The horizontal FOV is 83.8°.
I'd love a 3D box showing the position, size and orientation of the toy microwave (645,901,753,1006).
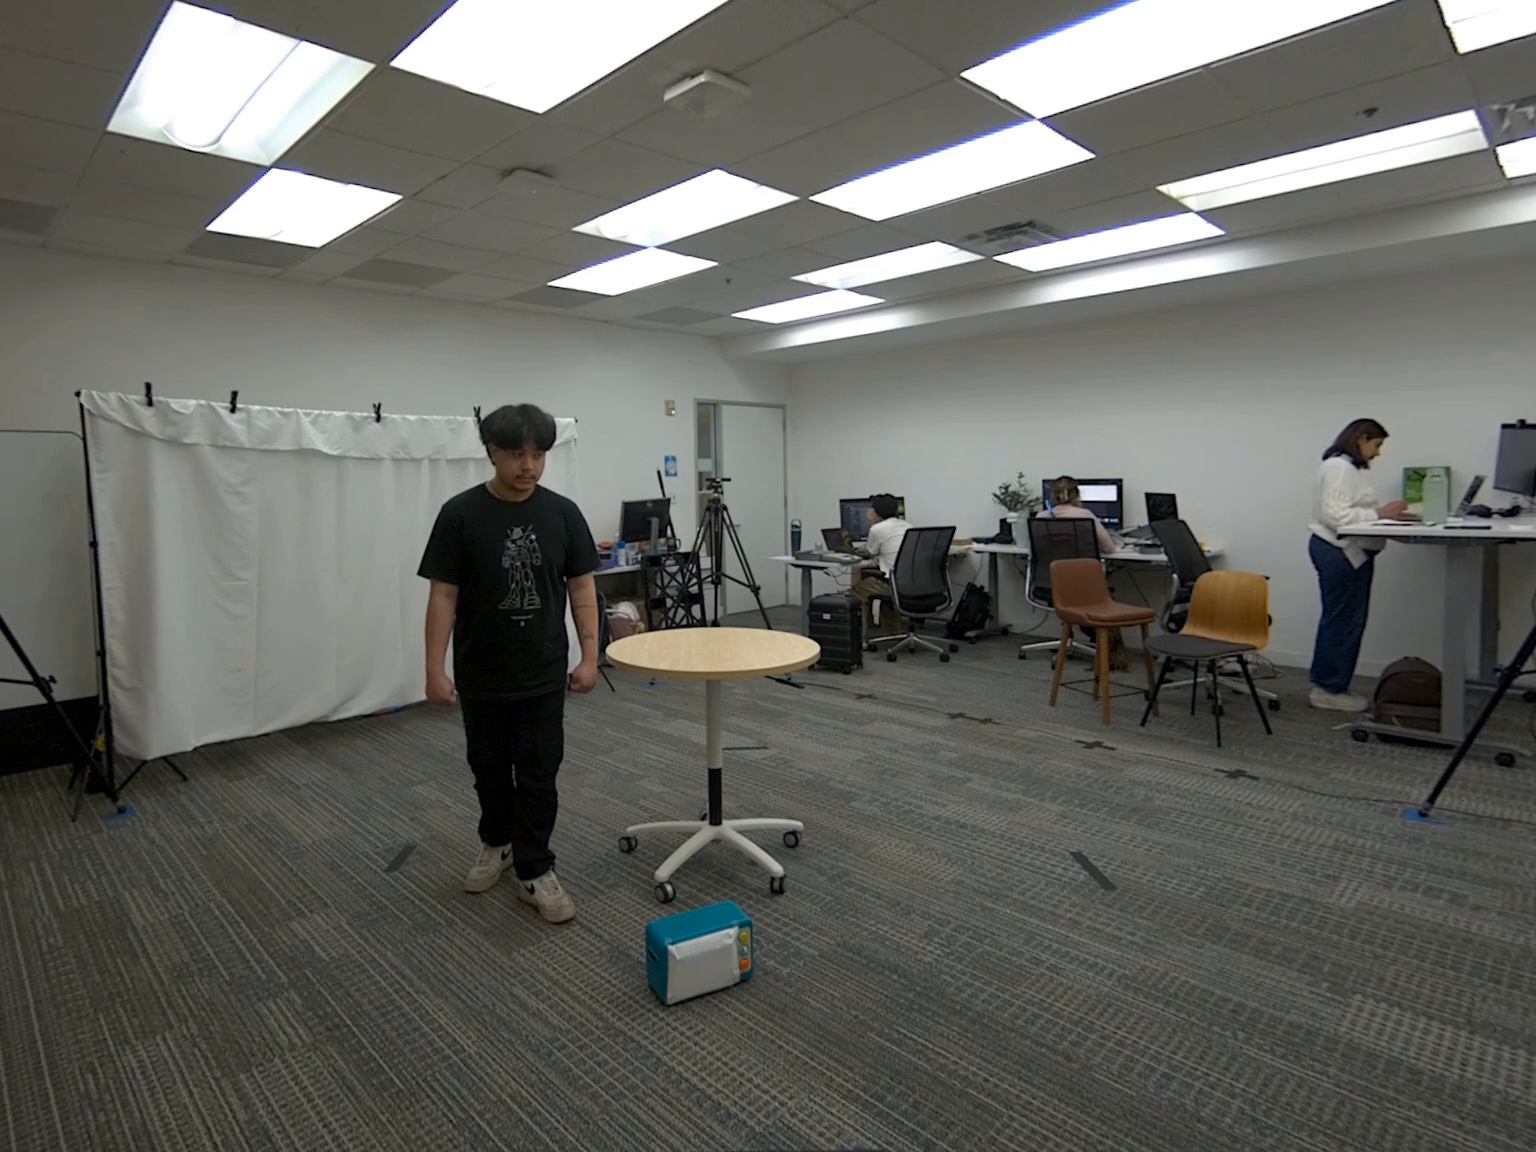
[{"bbox_3d":[-0.184,1.041,2.364,0.280,0.183,0.156,-4,6,-27],"label":"toy microwave"}]
